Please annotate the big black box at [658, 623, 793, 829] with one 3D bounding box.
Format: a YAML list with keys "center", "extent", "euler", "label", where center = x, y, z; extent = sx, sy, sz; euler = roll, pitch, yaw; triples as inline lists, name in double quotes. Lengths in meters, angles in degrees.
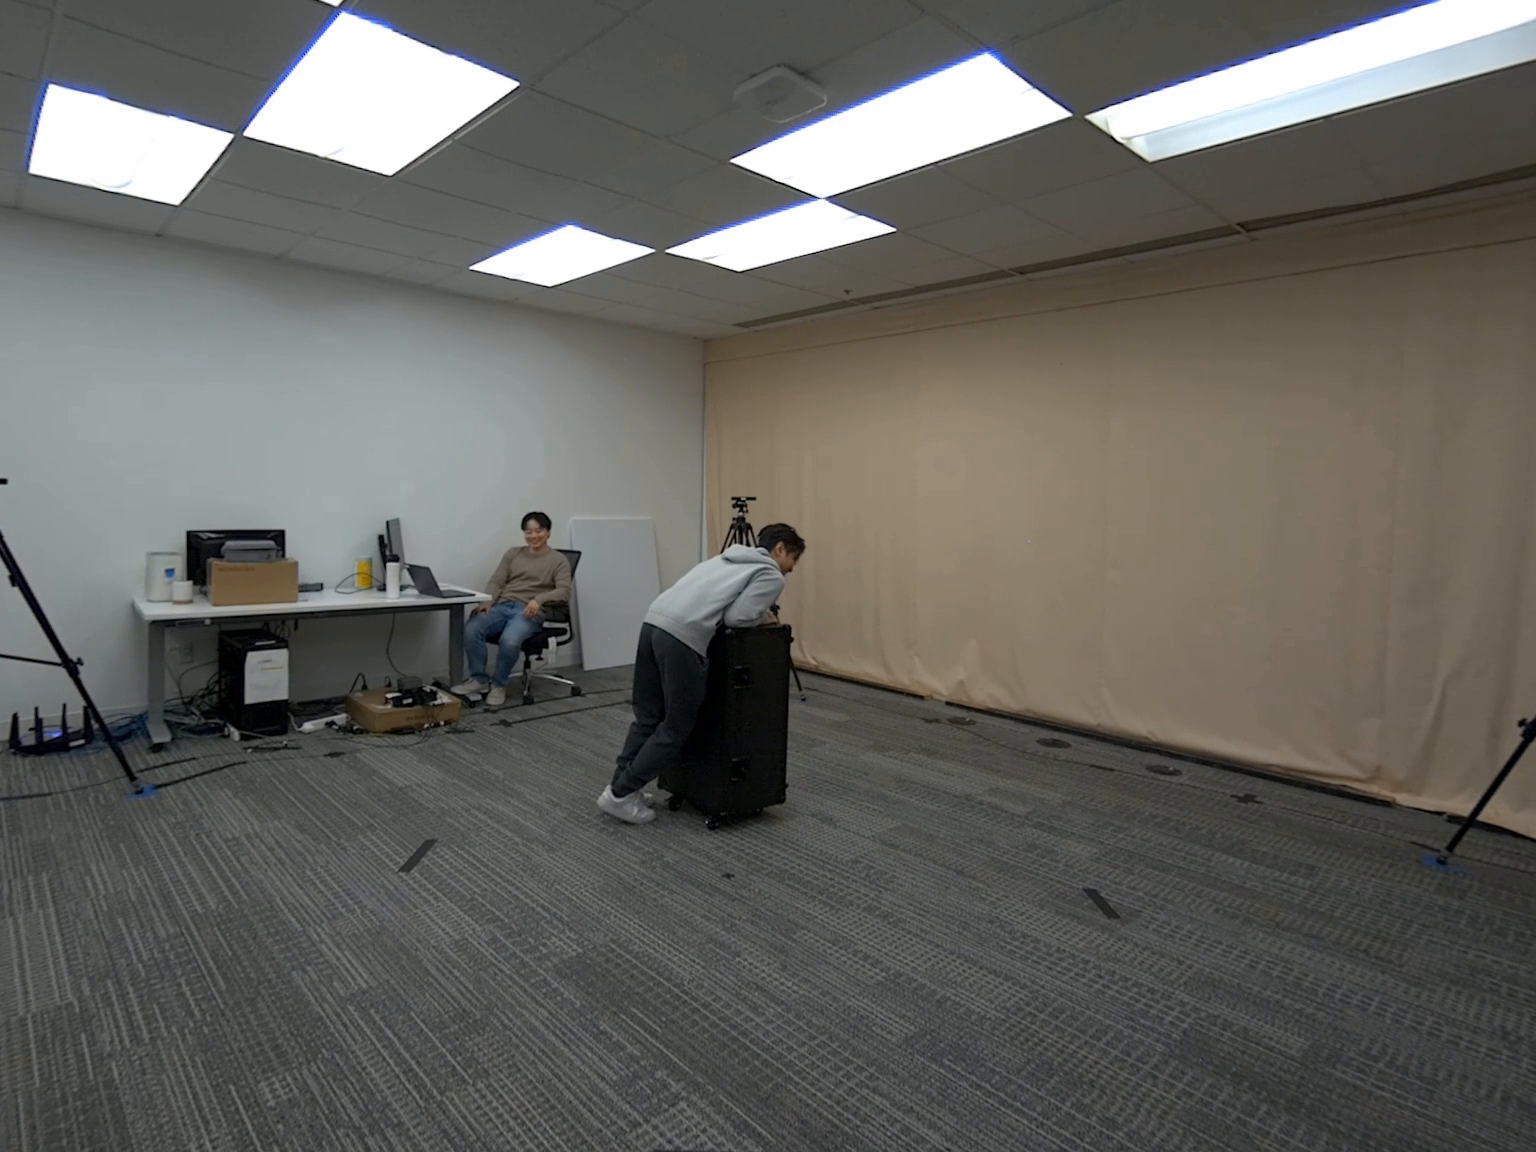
- center: [-0.198, 0.628, 3.760]
  extent: [0.387, 0.860, 0.534]
  euler: [1, 3, -39]
  label: "big black box"
